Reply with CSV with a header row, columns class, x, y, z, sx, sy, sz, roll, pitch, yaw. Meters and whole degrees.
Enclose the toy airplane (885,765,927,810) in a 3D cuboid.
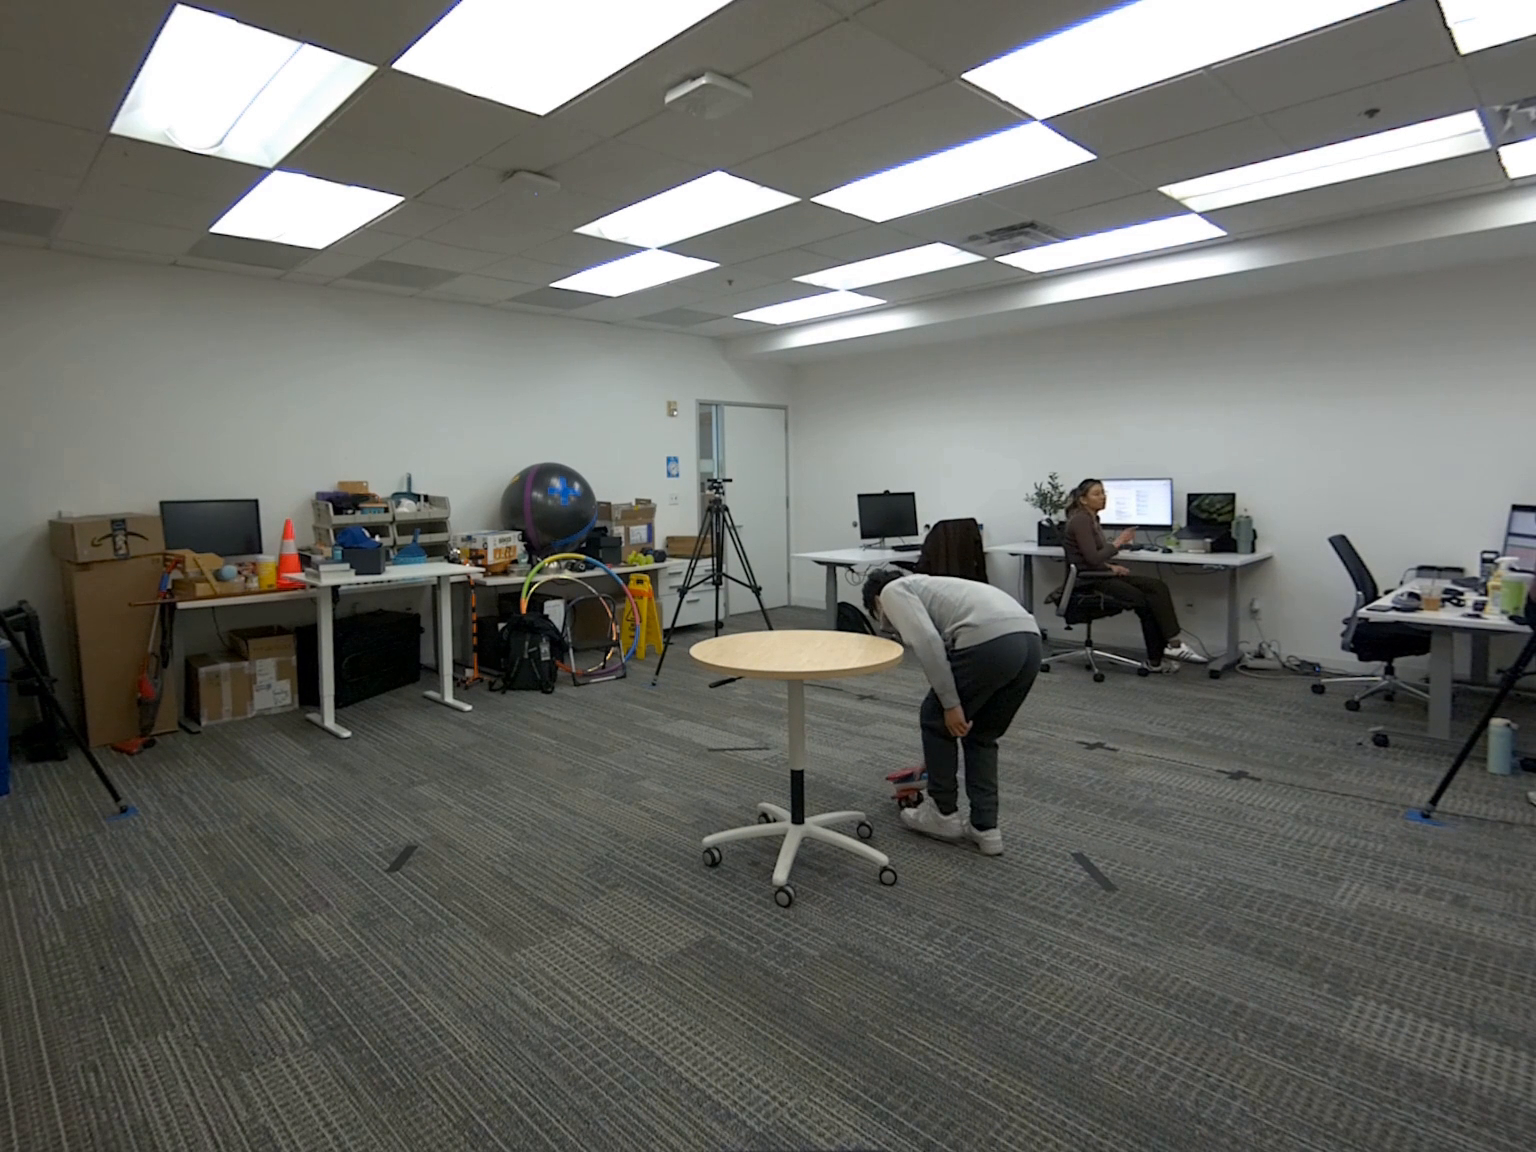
class,x,y,z,sx,sy,sz,roll,pitch,yaw
toy airplane,0.644,0.870,3.604,0.261,0.160,0.243,-30,-20,16
